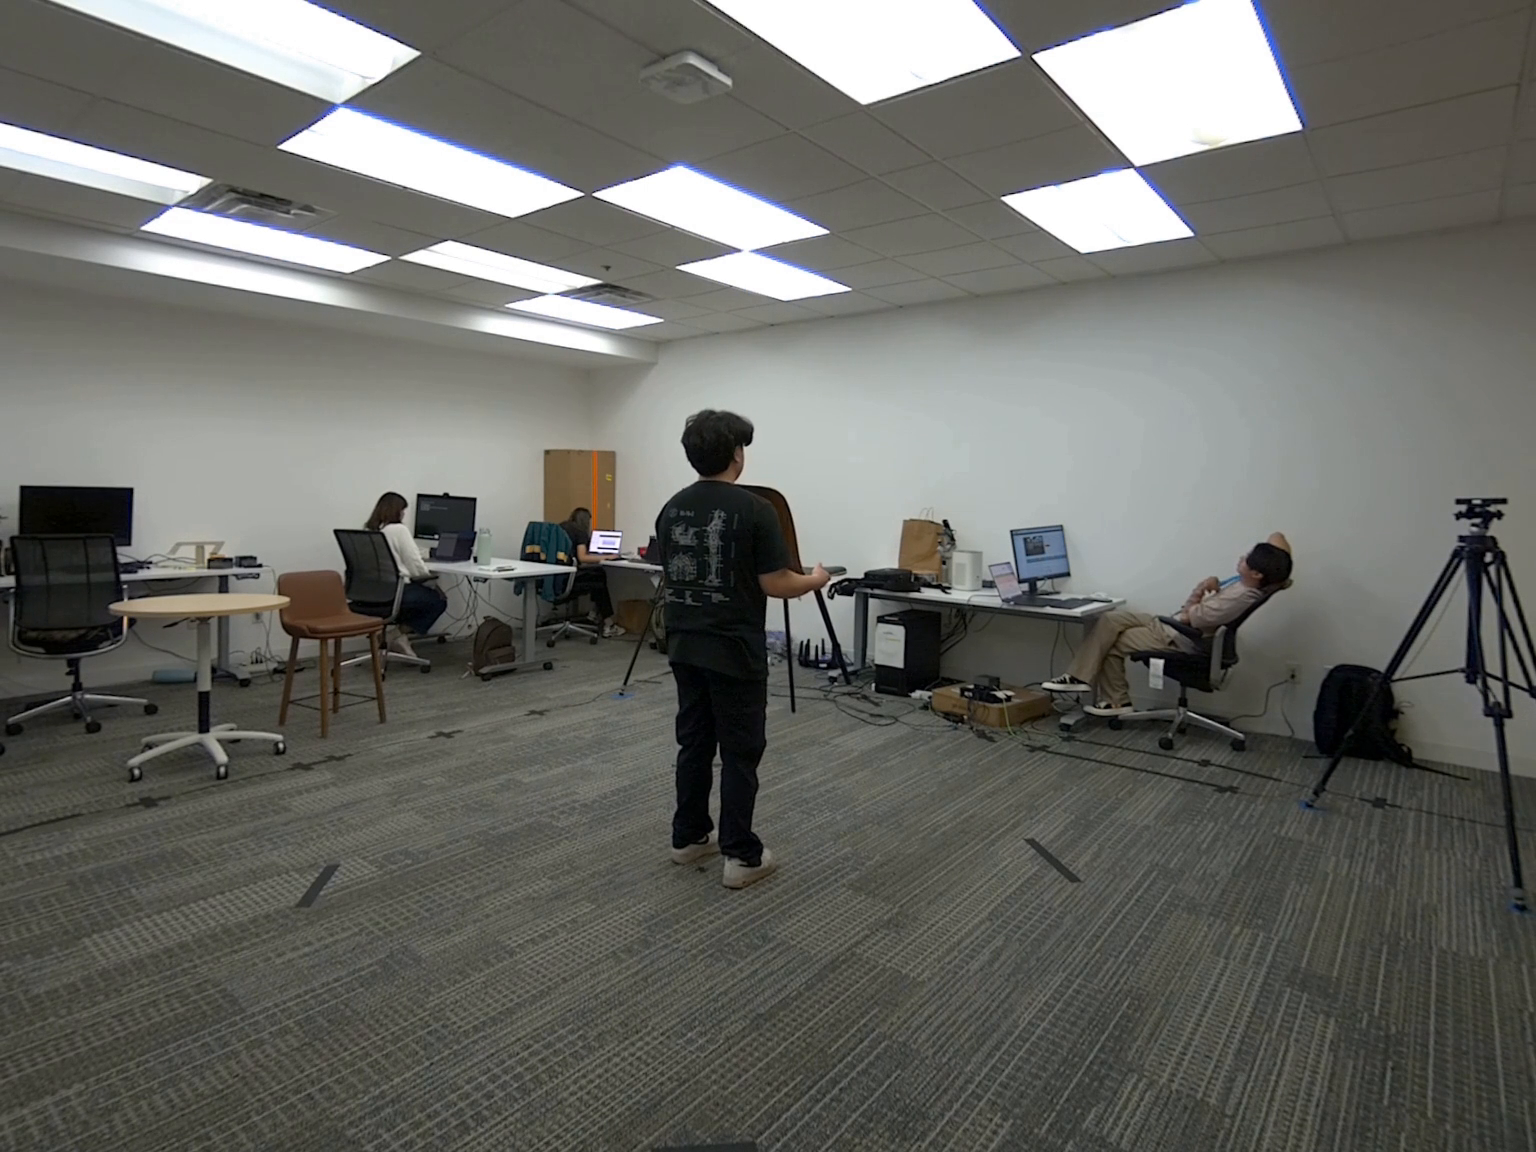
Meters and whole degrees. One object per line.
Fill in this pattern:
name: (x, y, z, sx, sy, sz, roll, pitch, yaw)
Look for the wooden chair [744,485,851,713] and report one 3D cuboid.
wooden chair: (0.013, 0.044, 3.395, 0.493, 0.870, 0.512, 2, 11, 34)
